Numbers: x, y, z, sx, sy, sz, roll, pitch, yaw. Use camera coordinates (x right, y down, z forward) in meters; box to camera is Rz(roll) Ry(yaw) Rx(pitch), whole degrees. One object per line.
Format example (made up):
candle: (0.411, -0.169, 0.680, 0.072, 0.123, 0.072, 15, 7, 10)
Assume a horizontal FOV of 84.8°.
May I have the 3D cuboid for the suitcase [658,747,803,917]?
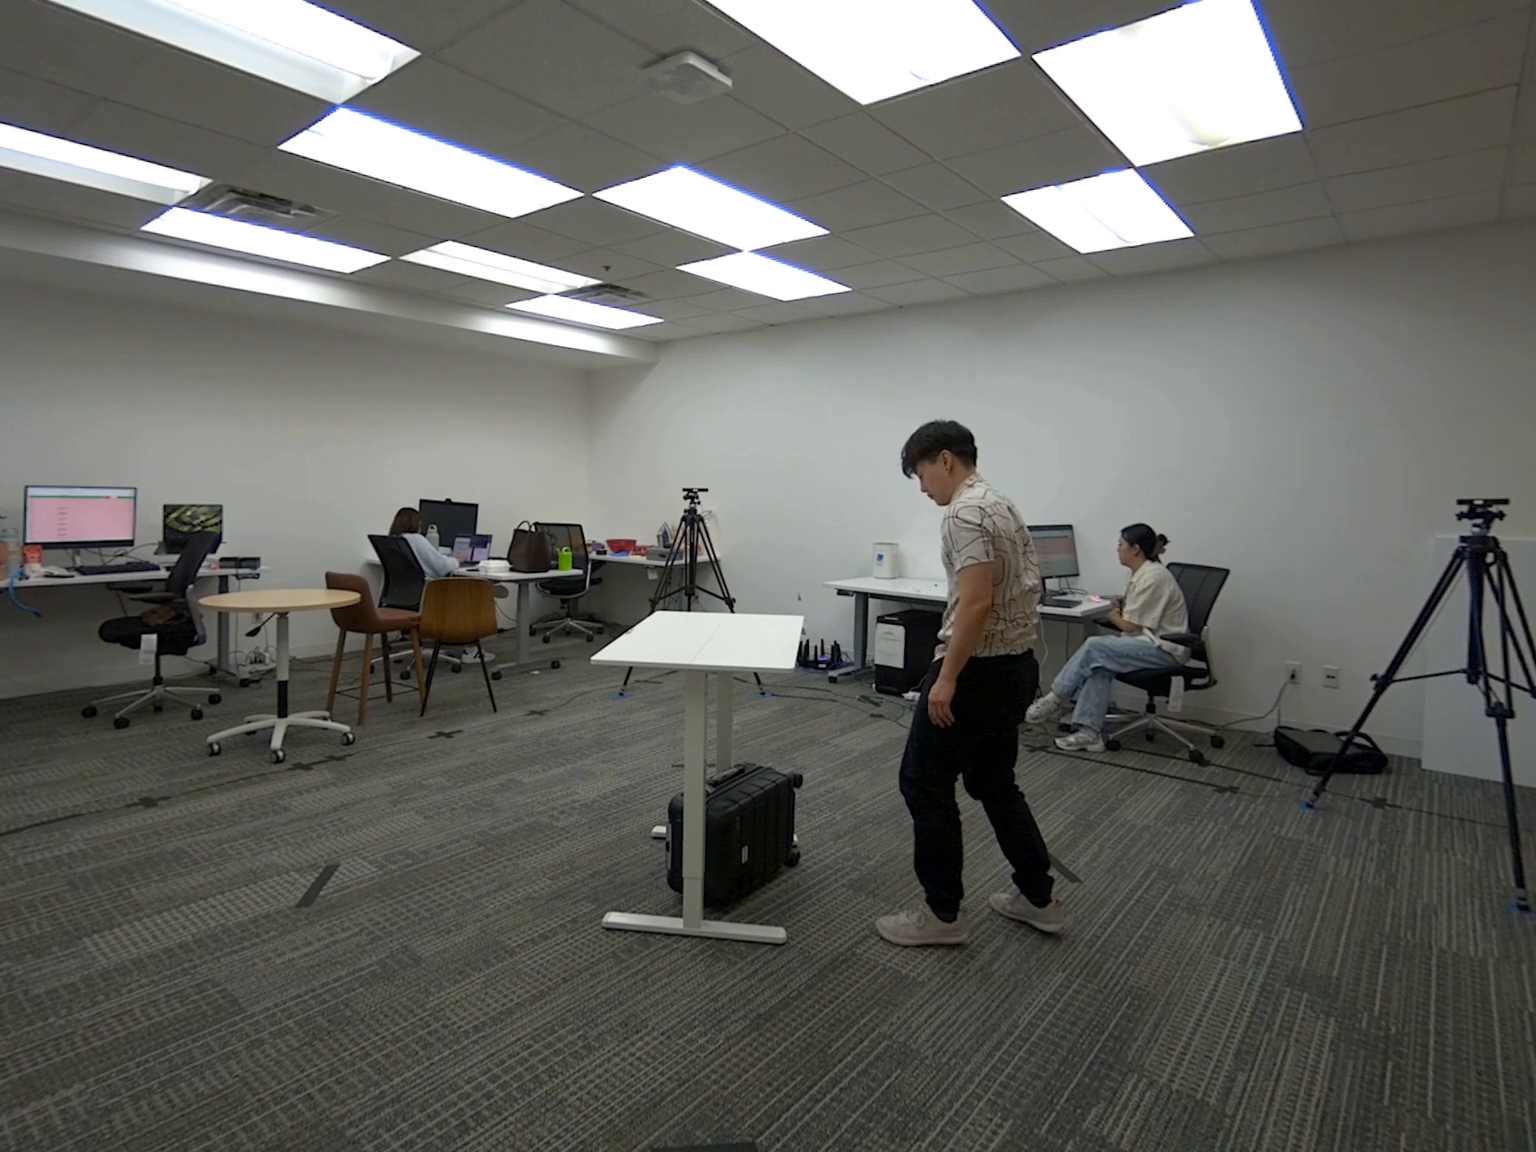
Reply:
suitcase: (-0.124, 0.883, 3.003, 0.256, 0.374, 0.534, 3, 4, 31)
